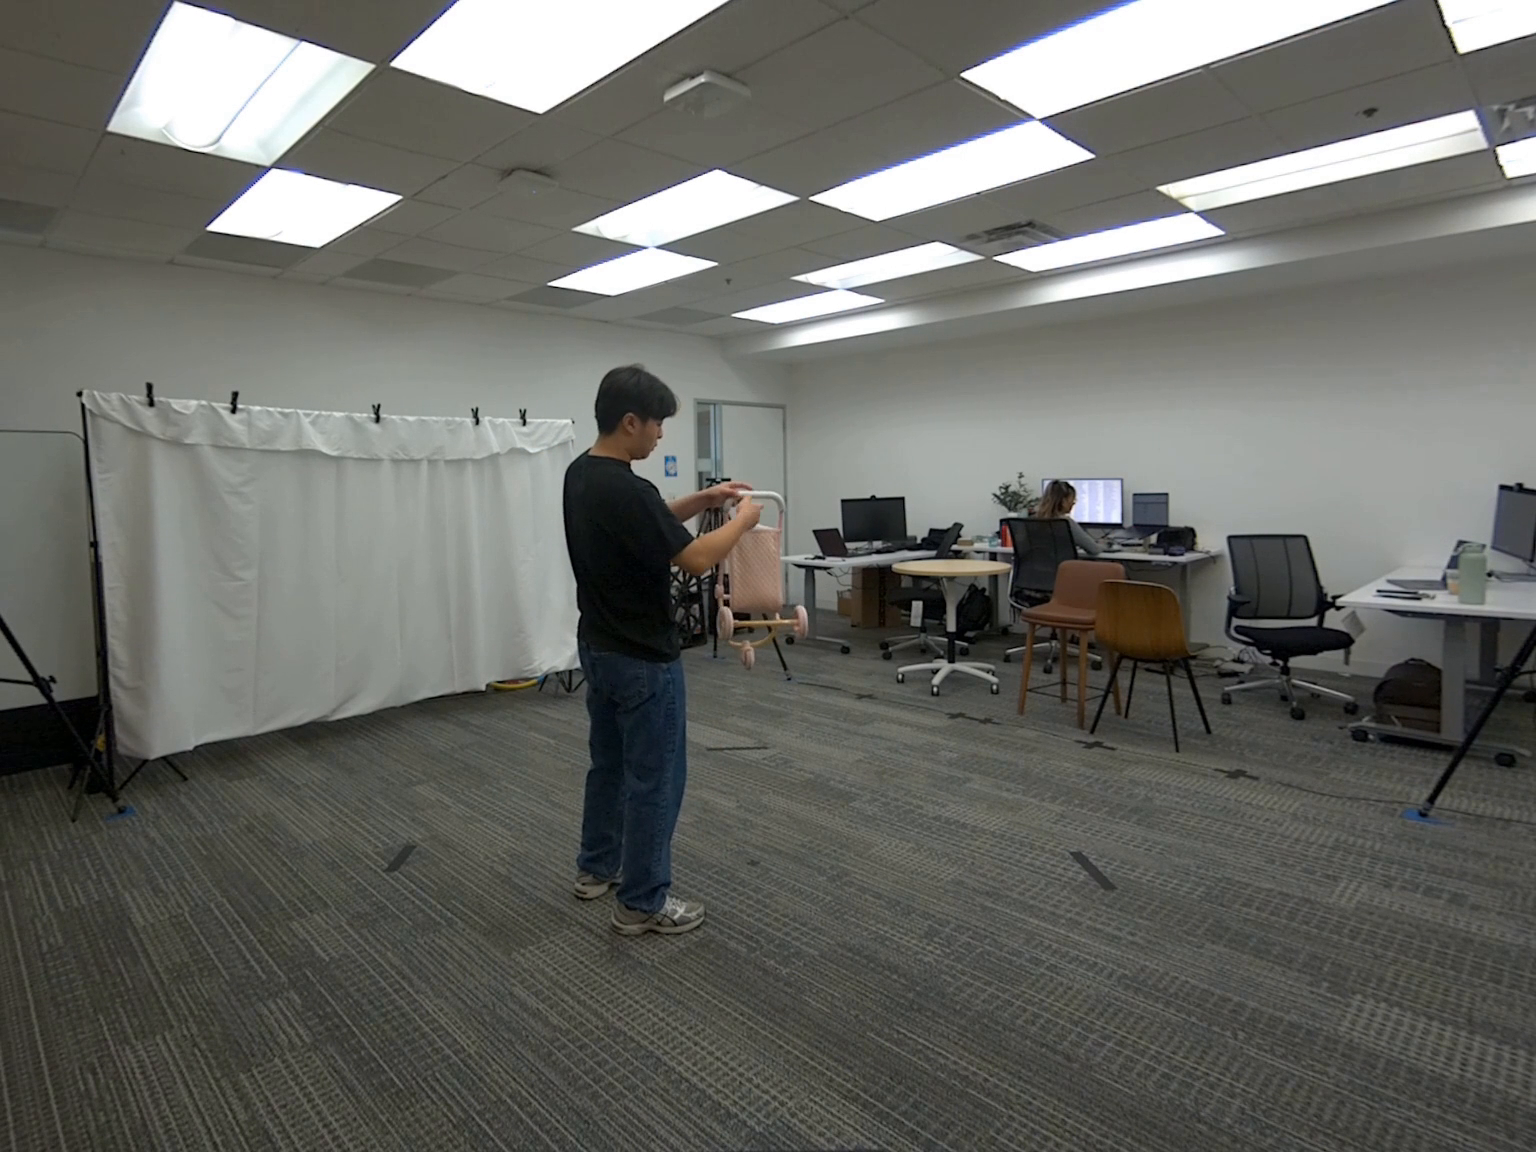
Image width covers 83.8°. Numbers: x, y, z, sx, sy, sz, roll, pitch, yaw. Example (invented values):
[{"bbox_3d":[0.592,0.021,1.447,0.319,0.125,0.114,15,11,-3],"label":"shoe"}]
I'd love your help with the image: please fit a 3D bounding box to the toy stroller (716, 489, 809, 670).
[{"bbox_3d":[-0.050,0.026,2.873,0.279,0.544,0.339,-2,-17,-11],"label":"toy stroller"}]
